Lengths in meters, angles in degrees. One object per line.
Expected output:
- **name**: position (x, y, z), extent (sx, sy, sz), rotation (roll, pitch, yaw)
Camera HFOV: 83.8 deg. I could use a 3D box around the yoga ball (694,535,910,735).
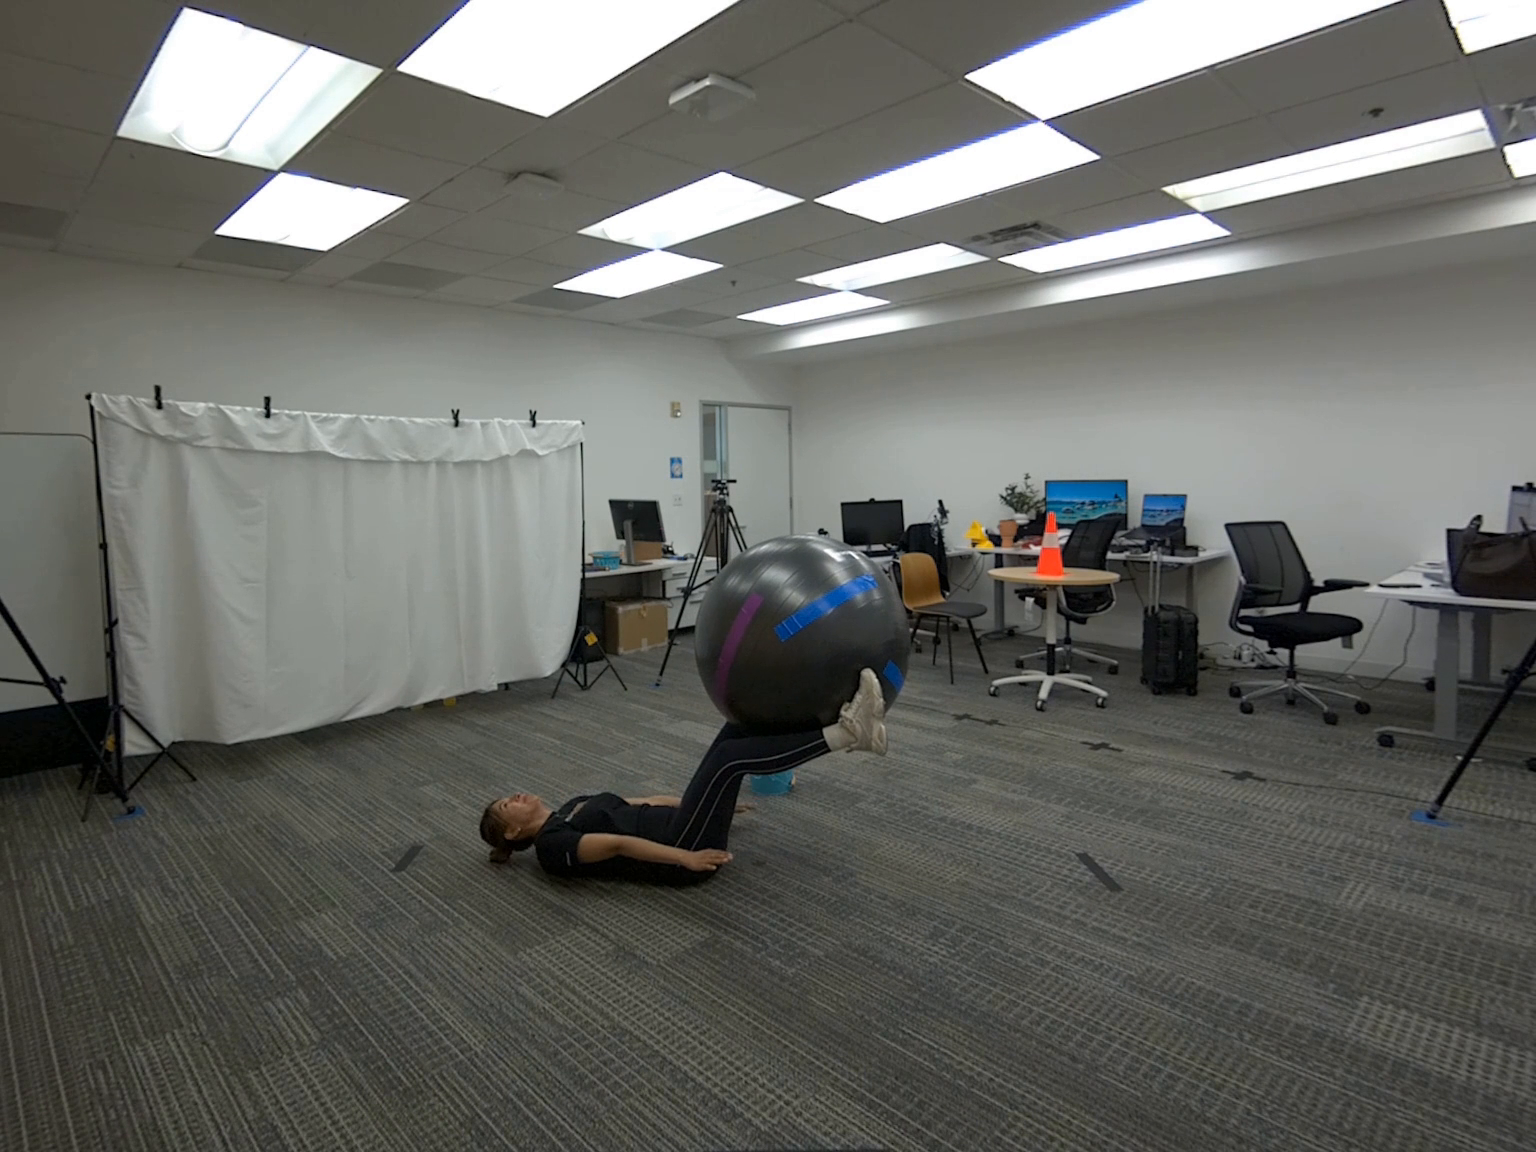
- **yoga ball**: position (0.109, 0.235, 3.011), extent (0.757, 0.755, 0.762), rotation (-1, 5, -2)
